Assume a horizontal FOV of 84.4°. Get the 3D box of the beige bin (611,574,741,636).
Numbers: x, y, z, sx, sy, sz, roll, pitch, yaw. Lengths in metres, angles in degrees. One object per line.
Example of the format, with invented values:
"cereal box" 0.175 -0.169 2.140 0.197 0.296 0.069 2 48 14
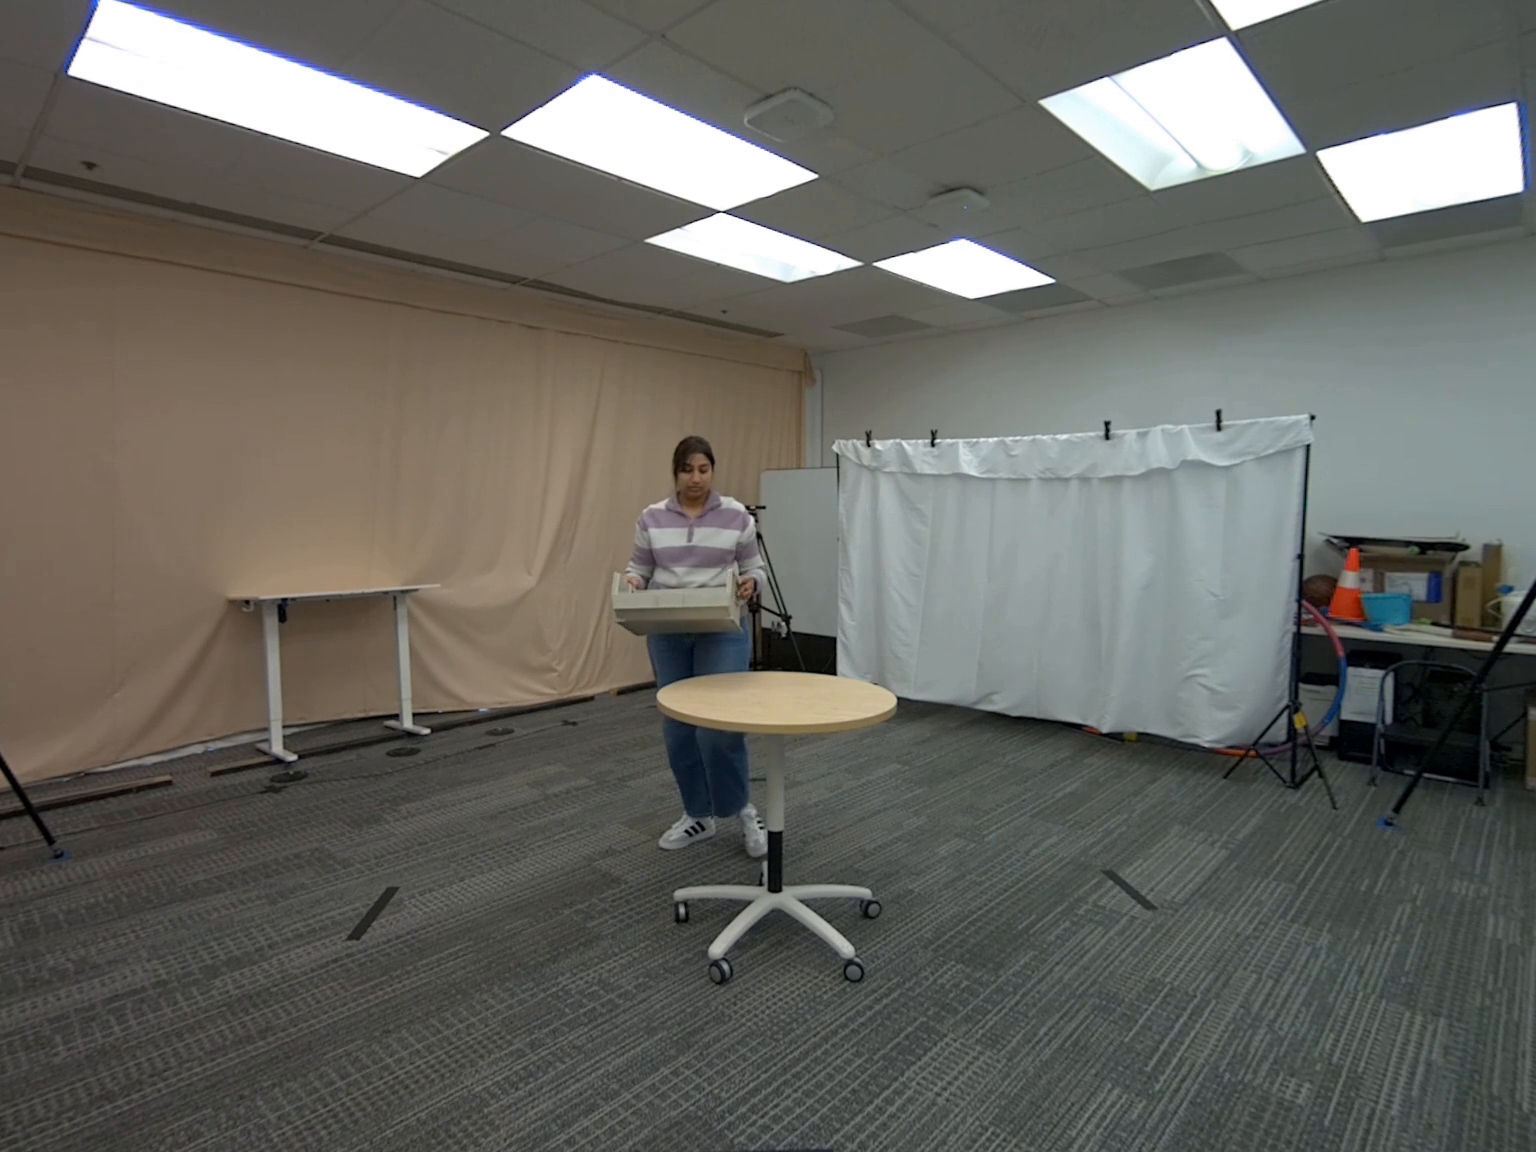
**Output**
"beige bin" -0.312 0.101 3.052 0.425 0.191 0.371 -3 -14 5
